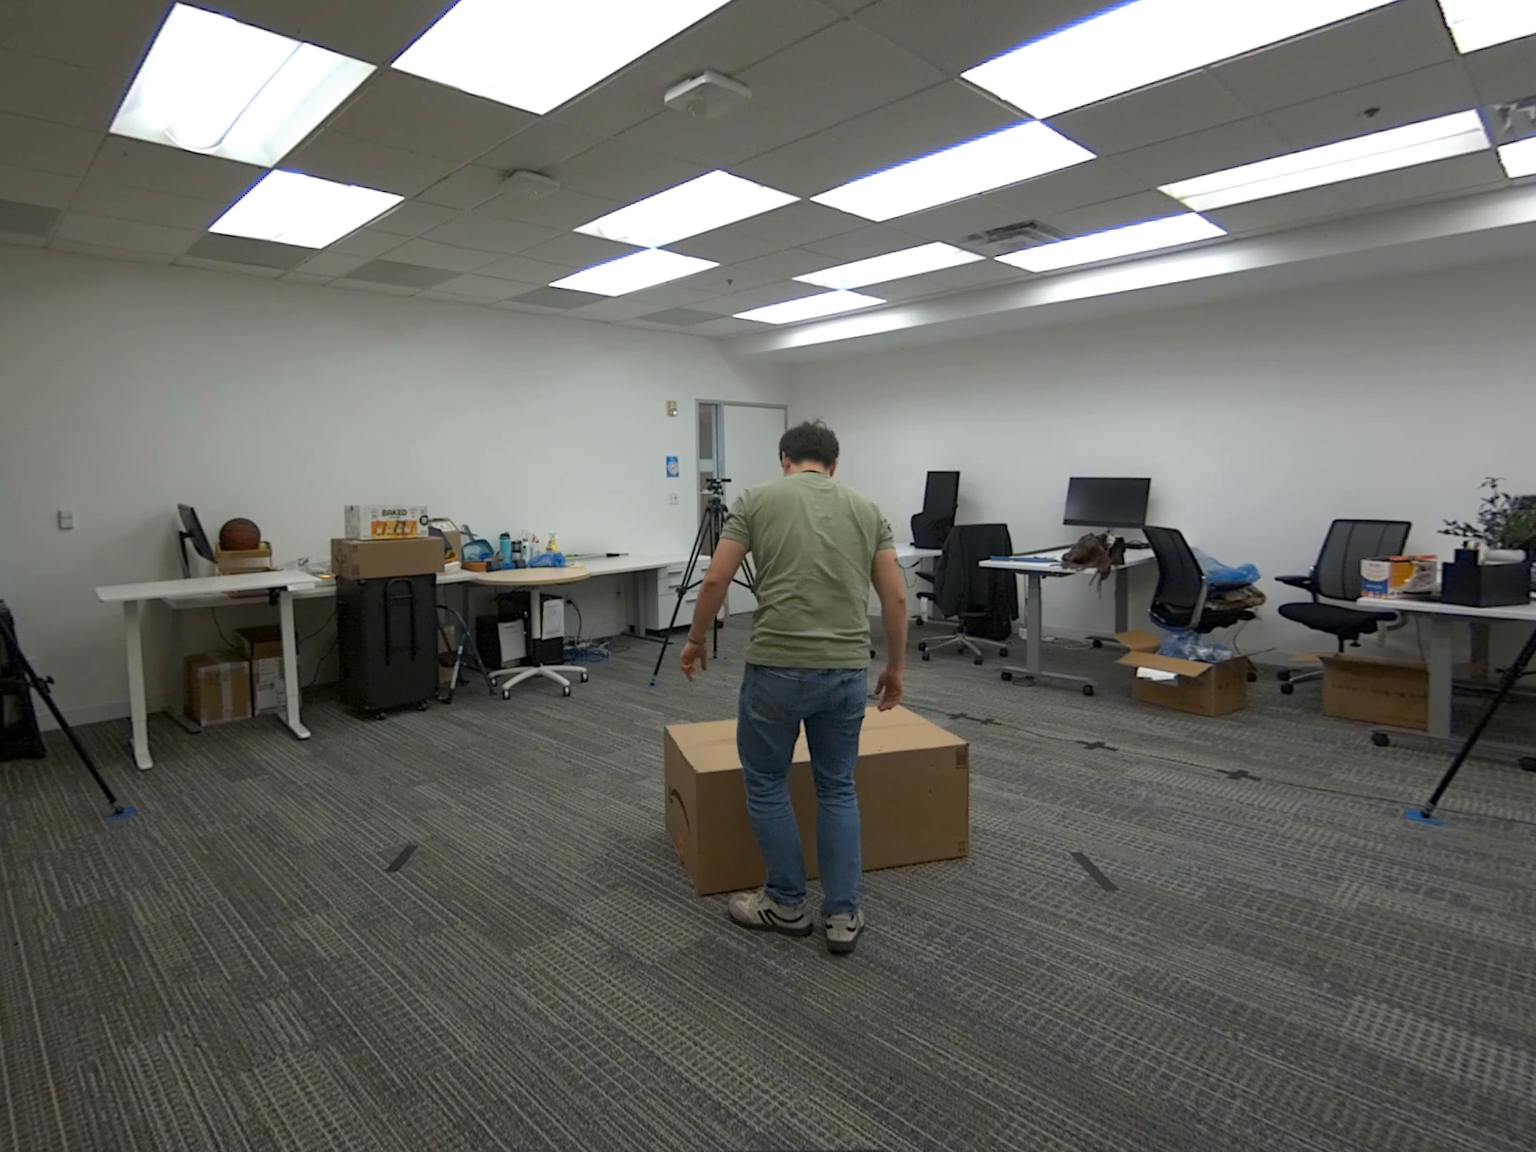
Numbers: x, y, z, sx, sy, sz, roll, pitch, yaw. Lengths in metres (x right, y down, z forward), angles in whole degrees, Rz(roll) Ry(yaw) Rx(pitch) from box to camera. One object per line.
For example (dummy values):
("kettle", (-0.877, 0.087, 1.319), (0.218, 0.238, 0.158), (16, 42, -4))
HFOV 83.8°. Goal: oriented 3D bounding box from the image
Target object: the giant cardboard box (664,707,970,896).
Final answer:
("giant cardboard box", (0.160, 0.810, 3.253), (1.011, 0.424, 0.588), (-3, 6, -16))
